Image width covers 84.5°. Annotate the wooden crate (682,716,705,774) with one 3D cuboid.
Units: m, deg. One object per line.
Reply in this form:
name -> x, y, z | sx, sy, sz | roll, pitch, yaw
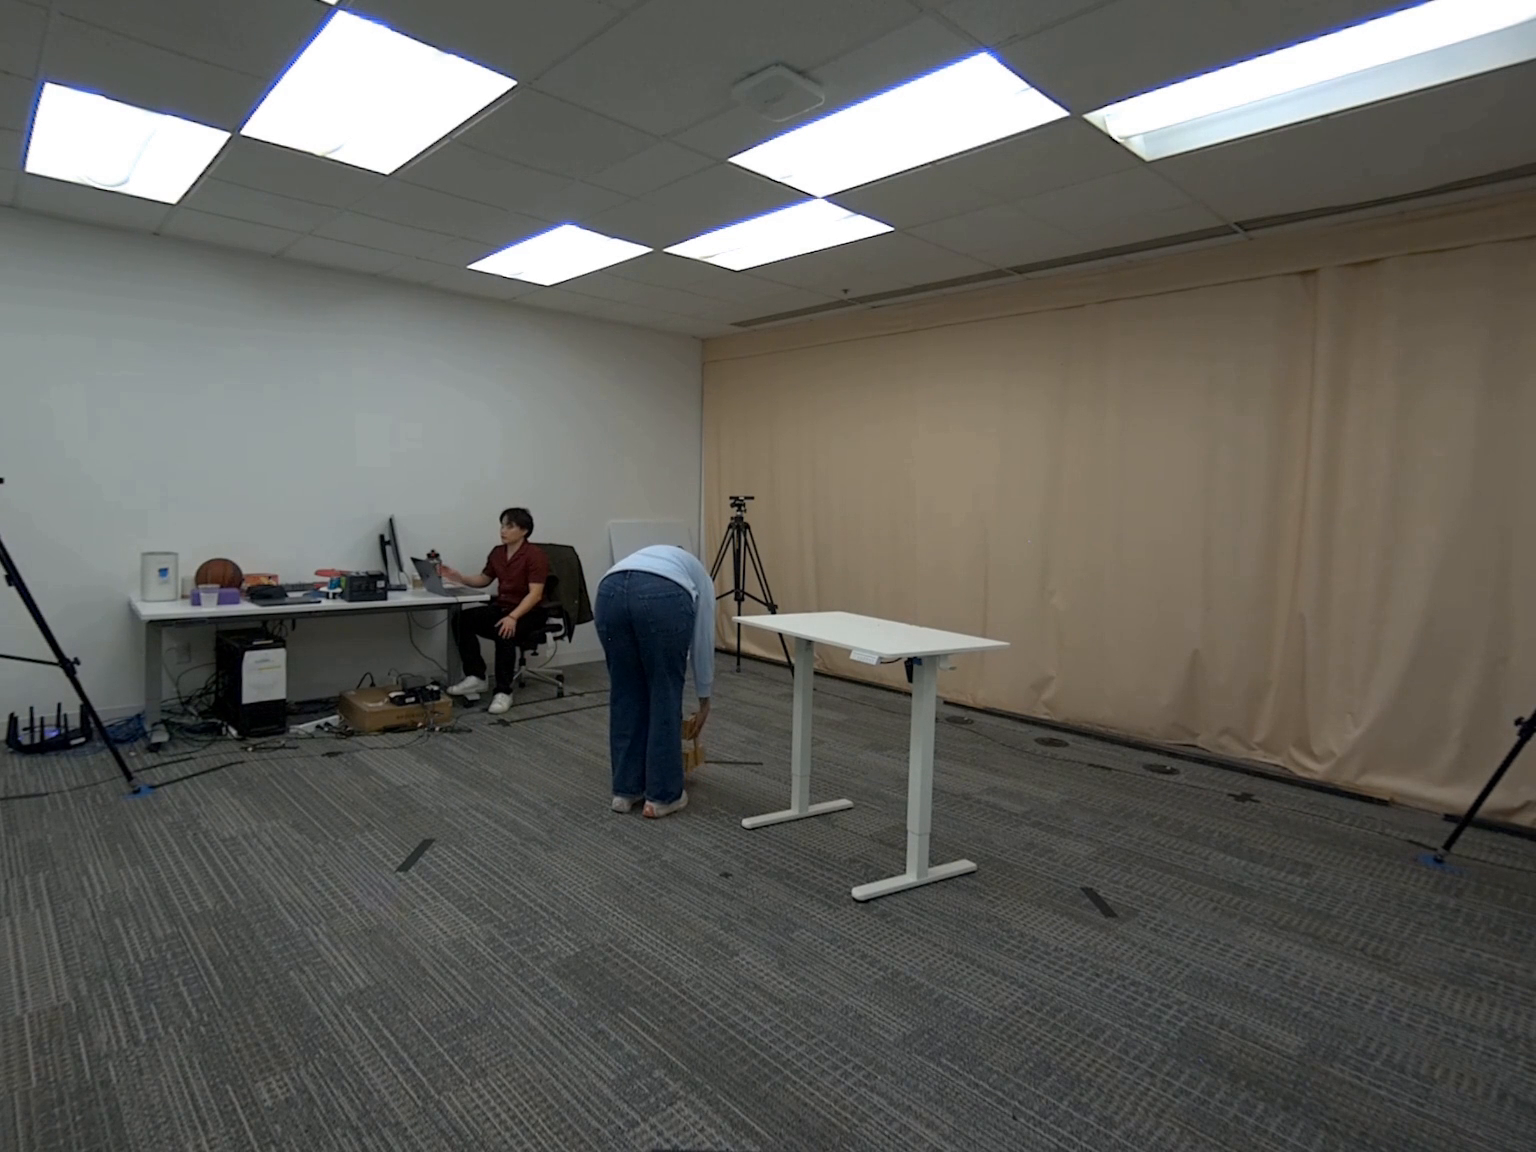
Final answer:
wooden crate -> -0.487, 0.764, 4.066 | 0.329, 0.273, 0.298 | 6, 3, 17
